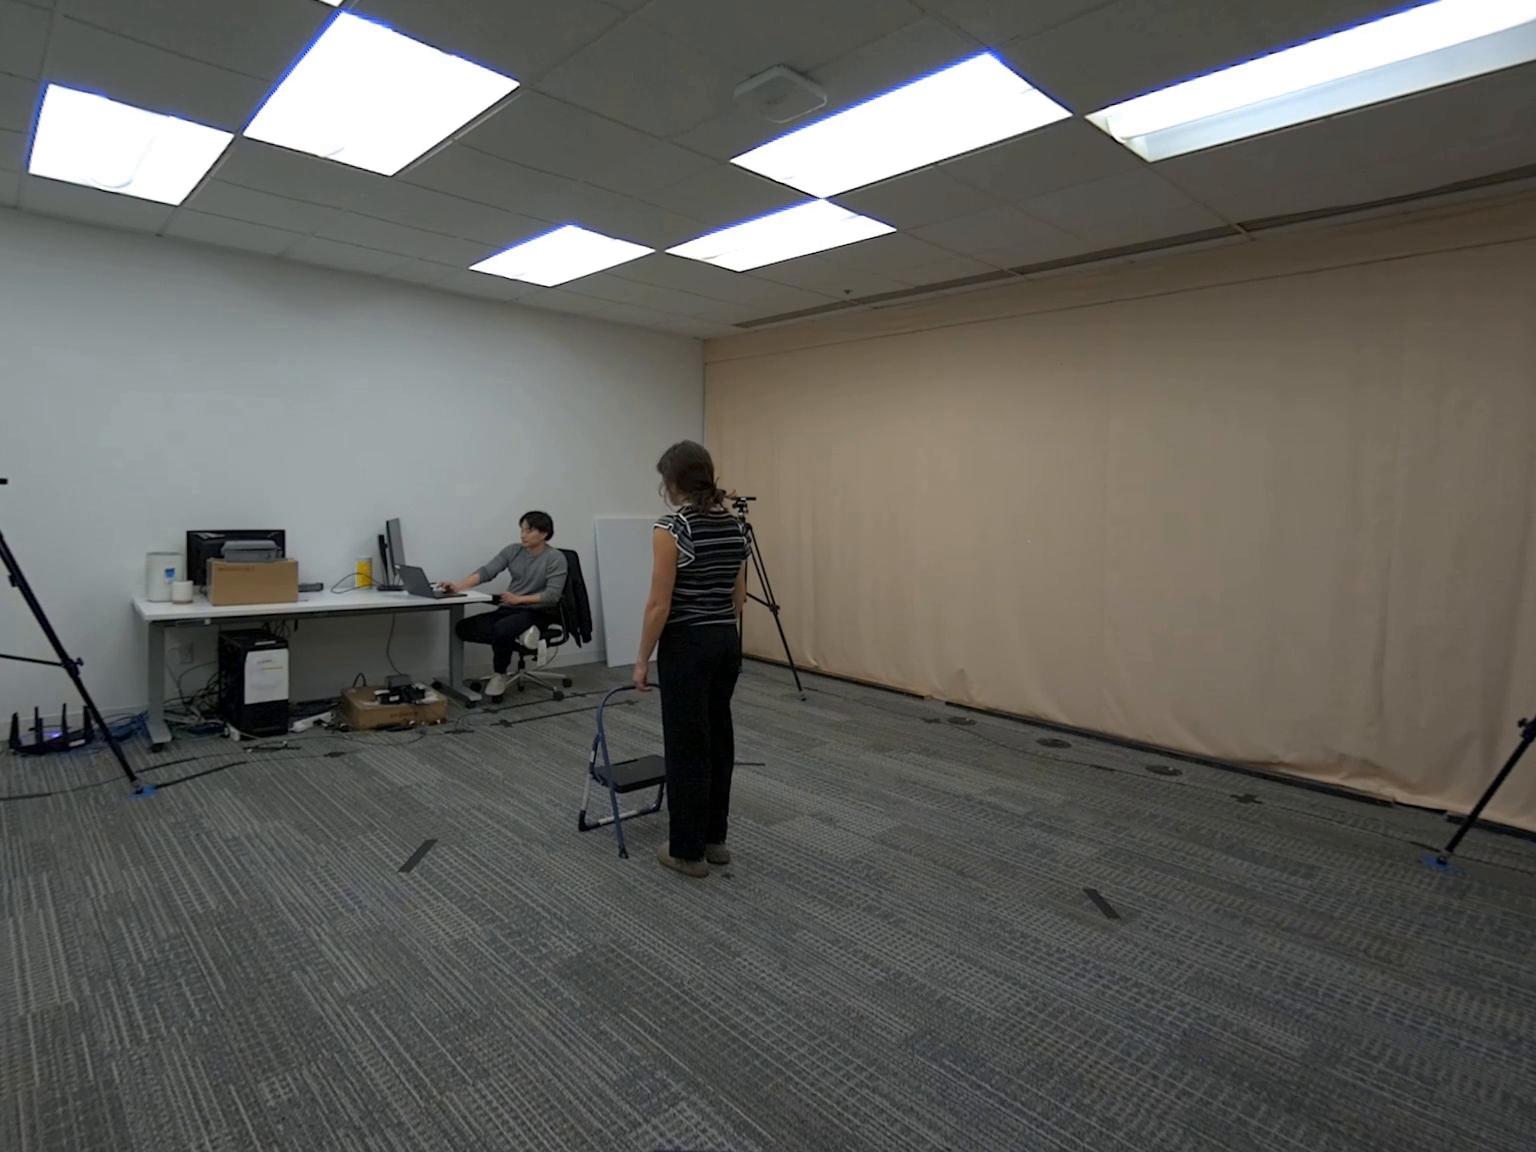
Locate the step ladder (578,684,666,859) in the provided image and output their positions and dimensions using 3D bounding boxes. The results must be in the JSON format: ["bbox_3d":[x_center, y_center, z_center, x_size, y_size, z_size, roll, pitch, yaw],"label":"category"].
[{"bbox_3d":[-0.521,0.763,3.484,0.421,0.604,0.358,-2,5,-43],"label":"step ladder"}]
